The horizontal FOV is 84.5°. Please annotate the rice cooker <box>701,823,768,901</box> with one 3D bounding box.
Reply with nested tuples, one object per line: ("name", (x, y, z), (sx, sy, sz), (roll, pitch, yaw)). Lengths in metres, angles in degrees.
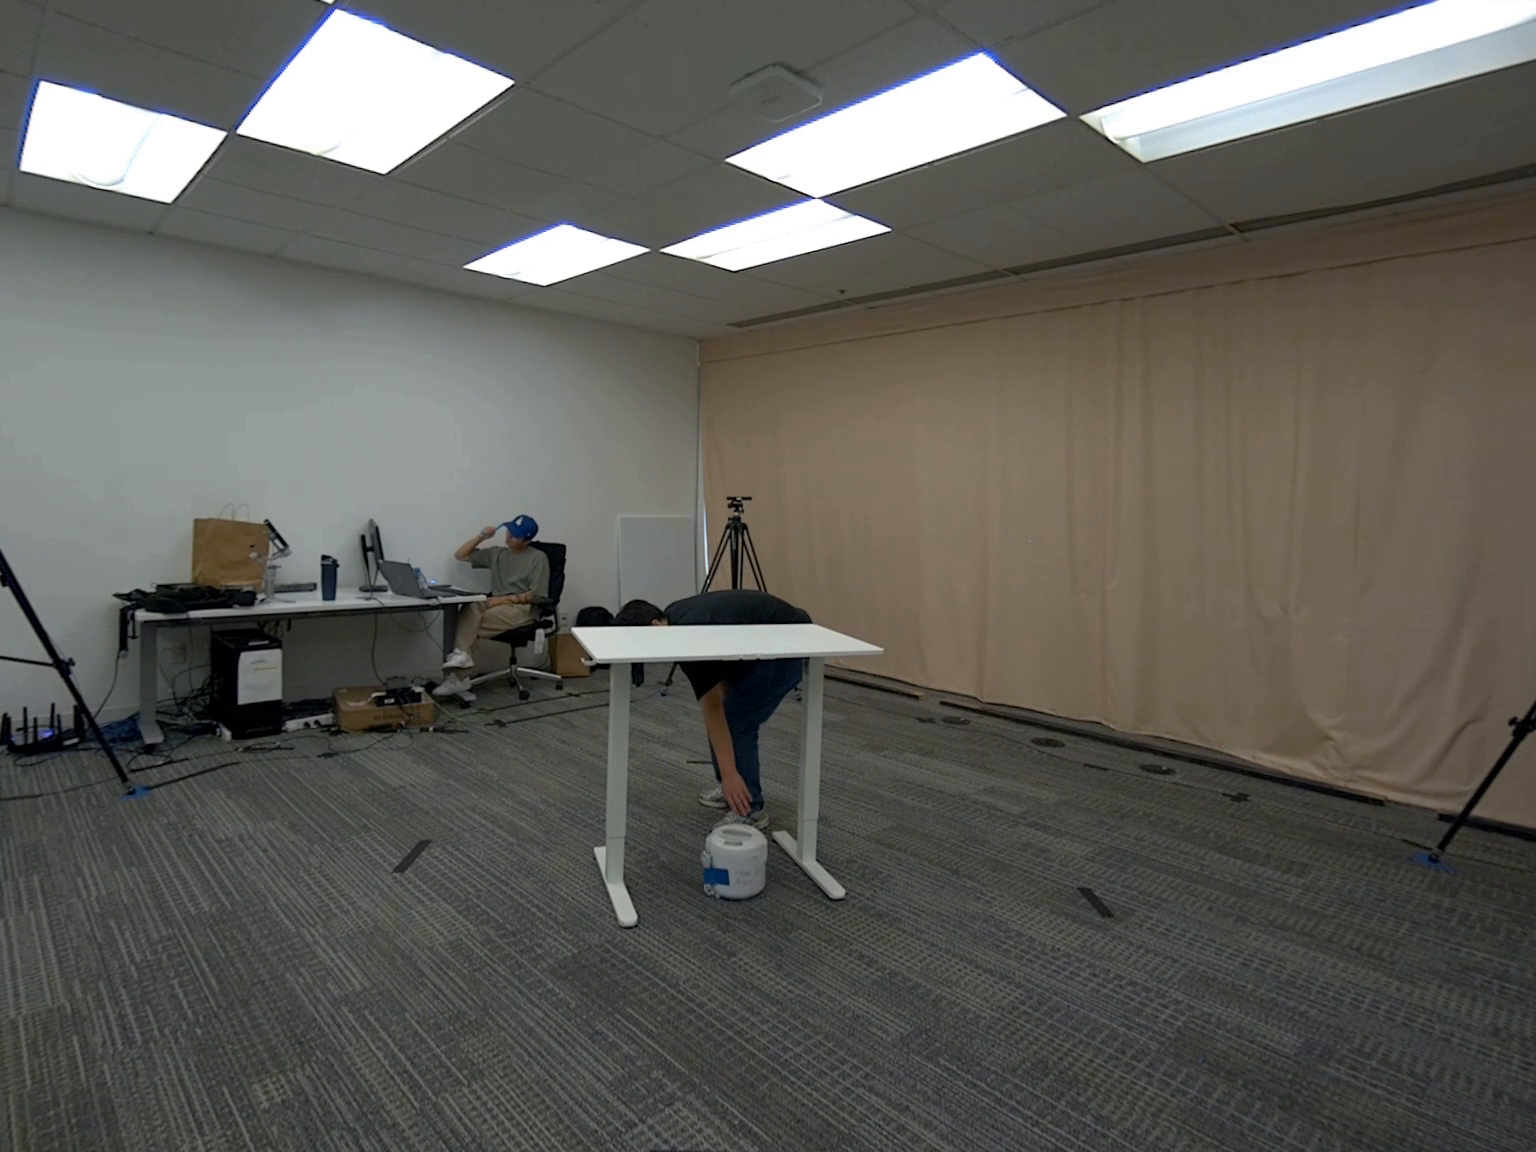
("rice cooker", (-0.118, 1.003, 2.991), (0.223, 0.232, 0.216), (2, 6, 12))
